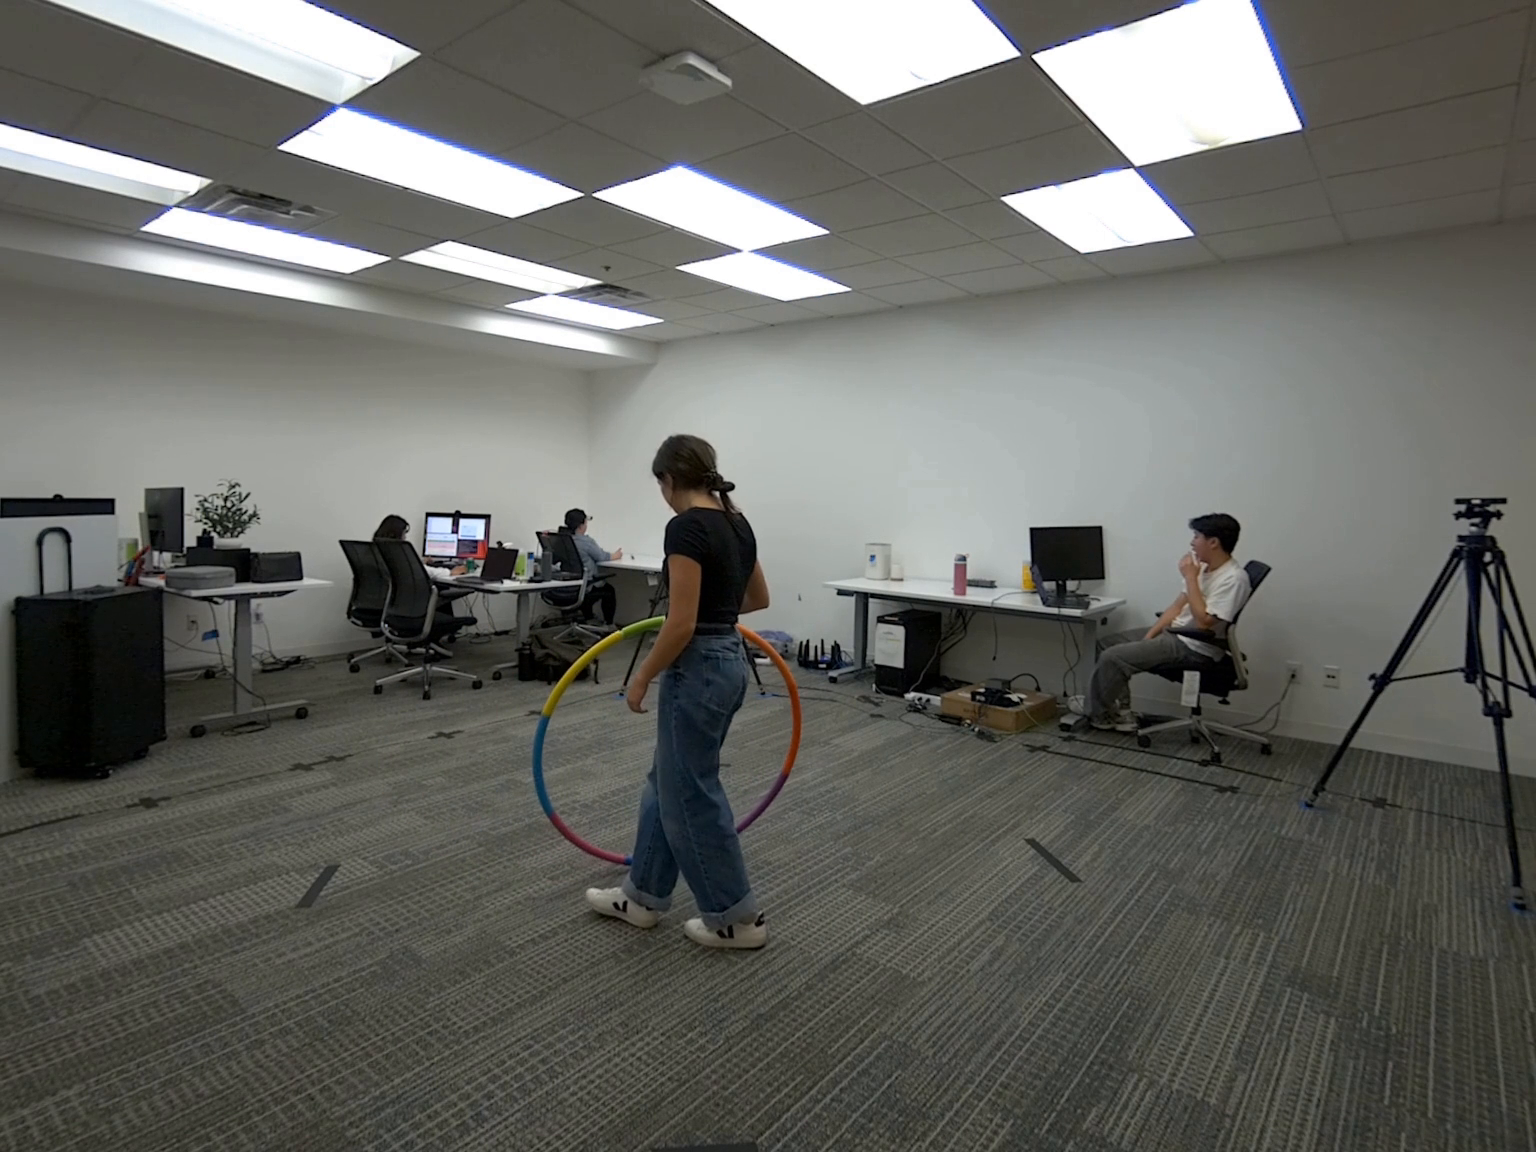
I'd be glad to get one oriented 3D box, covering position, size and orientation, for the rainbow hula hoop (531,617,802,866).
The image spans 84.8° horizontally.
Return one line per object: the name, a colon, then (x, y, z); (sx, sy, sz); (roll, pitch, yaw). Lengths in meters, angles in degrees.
rainbow hula hoop: (-0.337, 0.593, 3.037); (0.959, 0.967, 0.037); (0, 15, -20)
